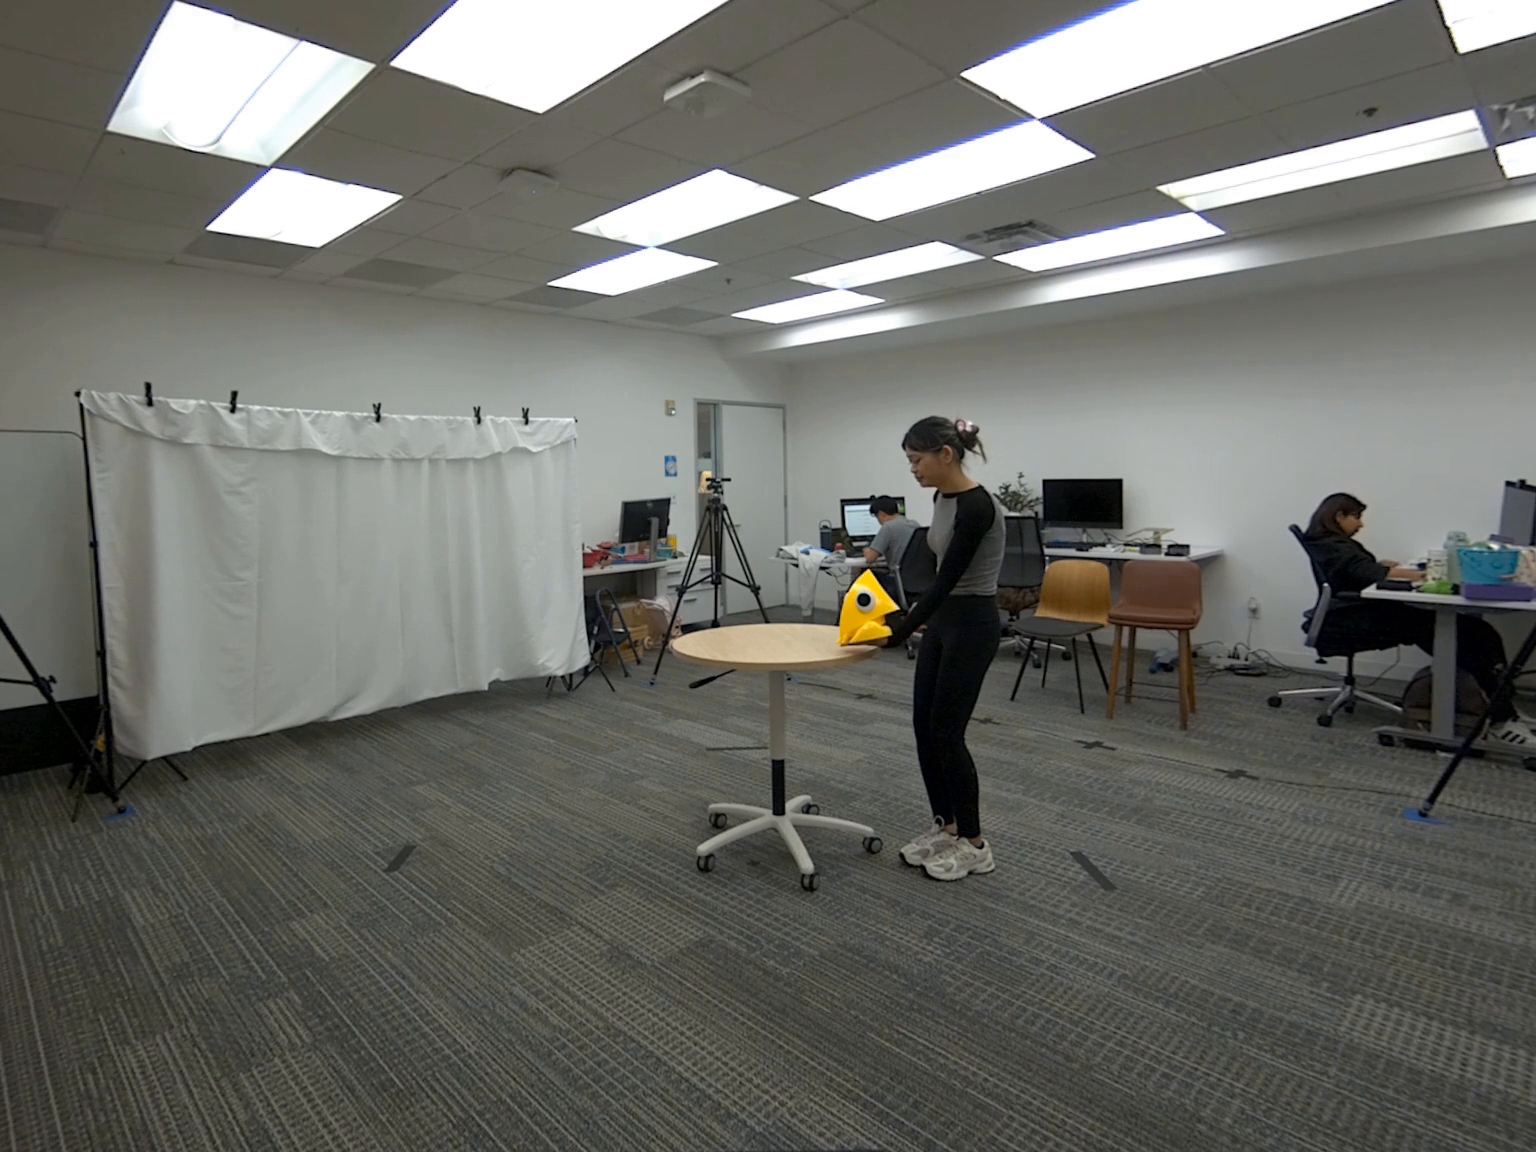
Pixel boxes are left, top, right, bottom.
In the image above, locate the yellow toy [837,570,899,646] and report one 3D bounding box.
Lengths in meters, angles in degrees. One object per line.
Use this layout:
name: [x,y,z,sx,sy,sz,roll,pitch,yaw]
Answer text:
yellow toy: [0.322,0.097,2.909,0.190,0.232,0.207,-9,-4,-19]
